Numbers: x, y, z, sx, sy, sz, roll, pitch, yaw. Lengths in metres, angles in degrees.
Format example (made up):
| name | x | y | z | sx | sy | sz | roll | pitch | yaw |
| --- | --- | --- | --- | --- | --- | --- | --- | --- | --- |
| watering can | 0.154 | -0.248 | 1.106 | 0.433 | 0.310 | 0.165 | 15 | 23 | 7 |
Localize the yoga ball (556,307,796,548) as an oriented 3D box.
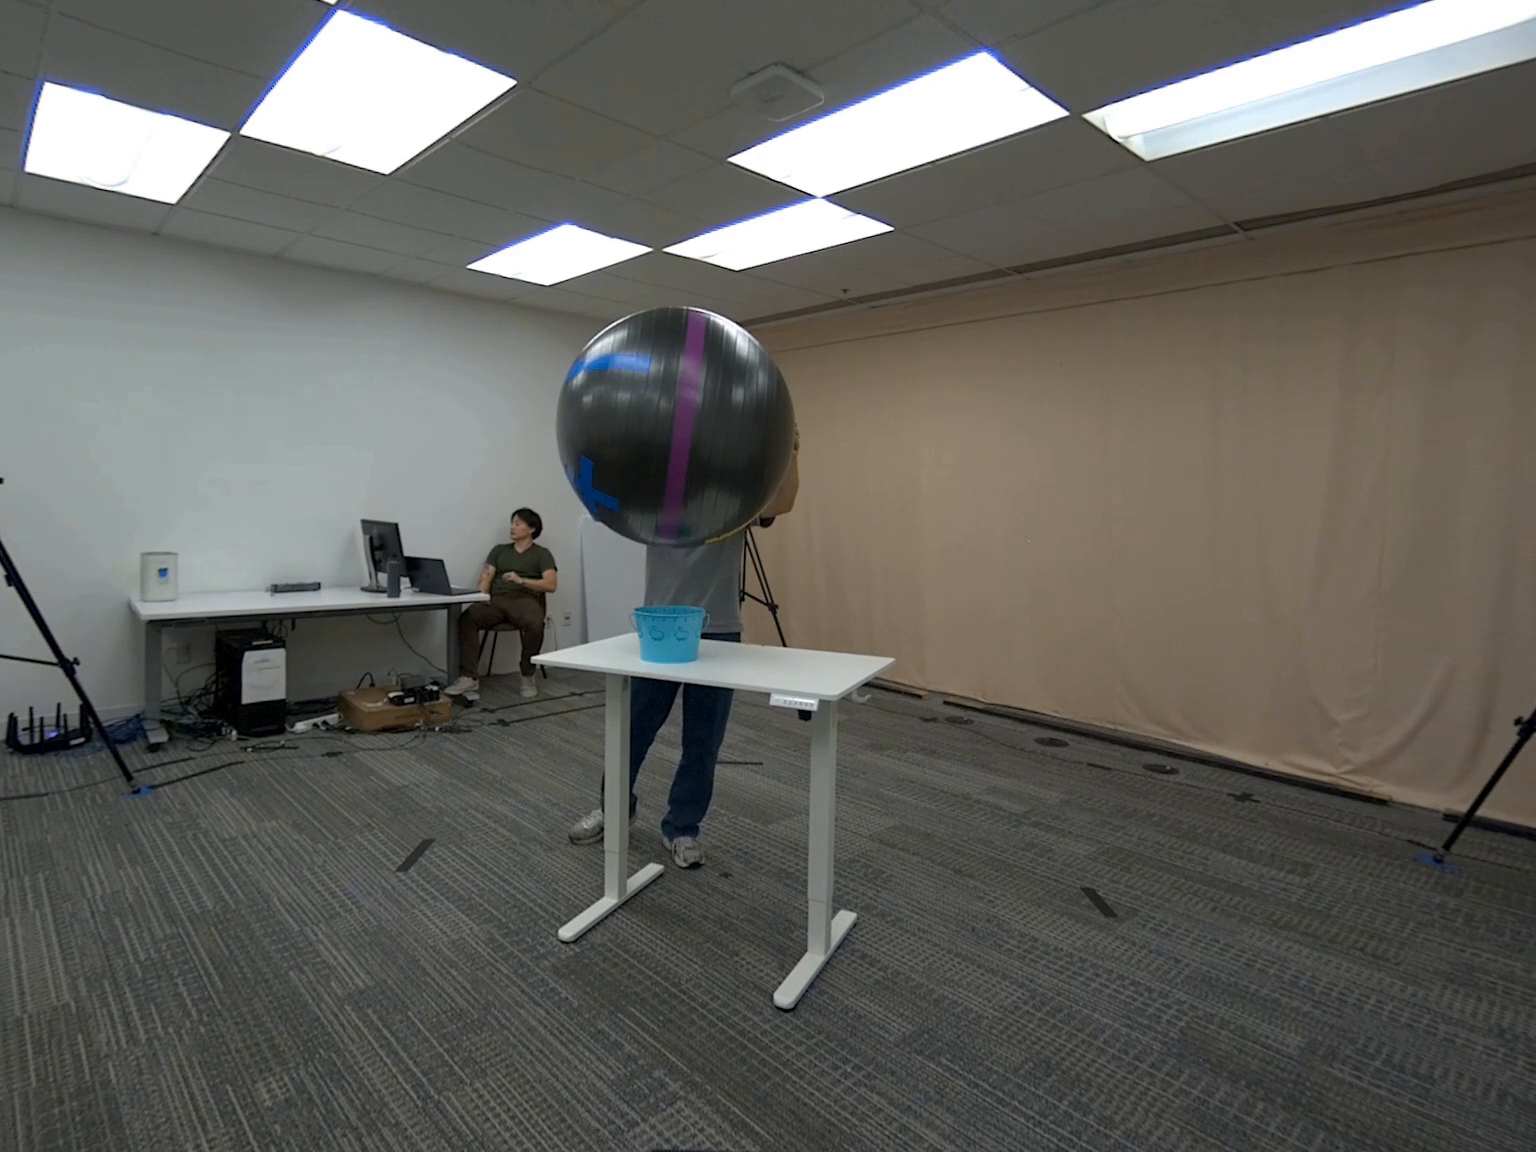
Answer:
| name | x | y | z | sx | sy | sz | roll | pitch | yaw |
| --- | --- | --- | --- | --- | --- | --- | --- | --- | --- |
| yoga ball | -0.297 | -0.458 | 2.699 | 0.757 | 0.756 | 0.761 | 1 | 4 | -1 |
